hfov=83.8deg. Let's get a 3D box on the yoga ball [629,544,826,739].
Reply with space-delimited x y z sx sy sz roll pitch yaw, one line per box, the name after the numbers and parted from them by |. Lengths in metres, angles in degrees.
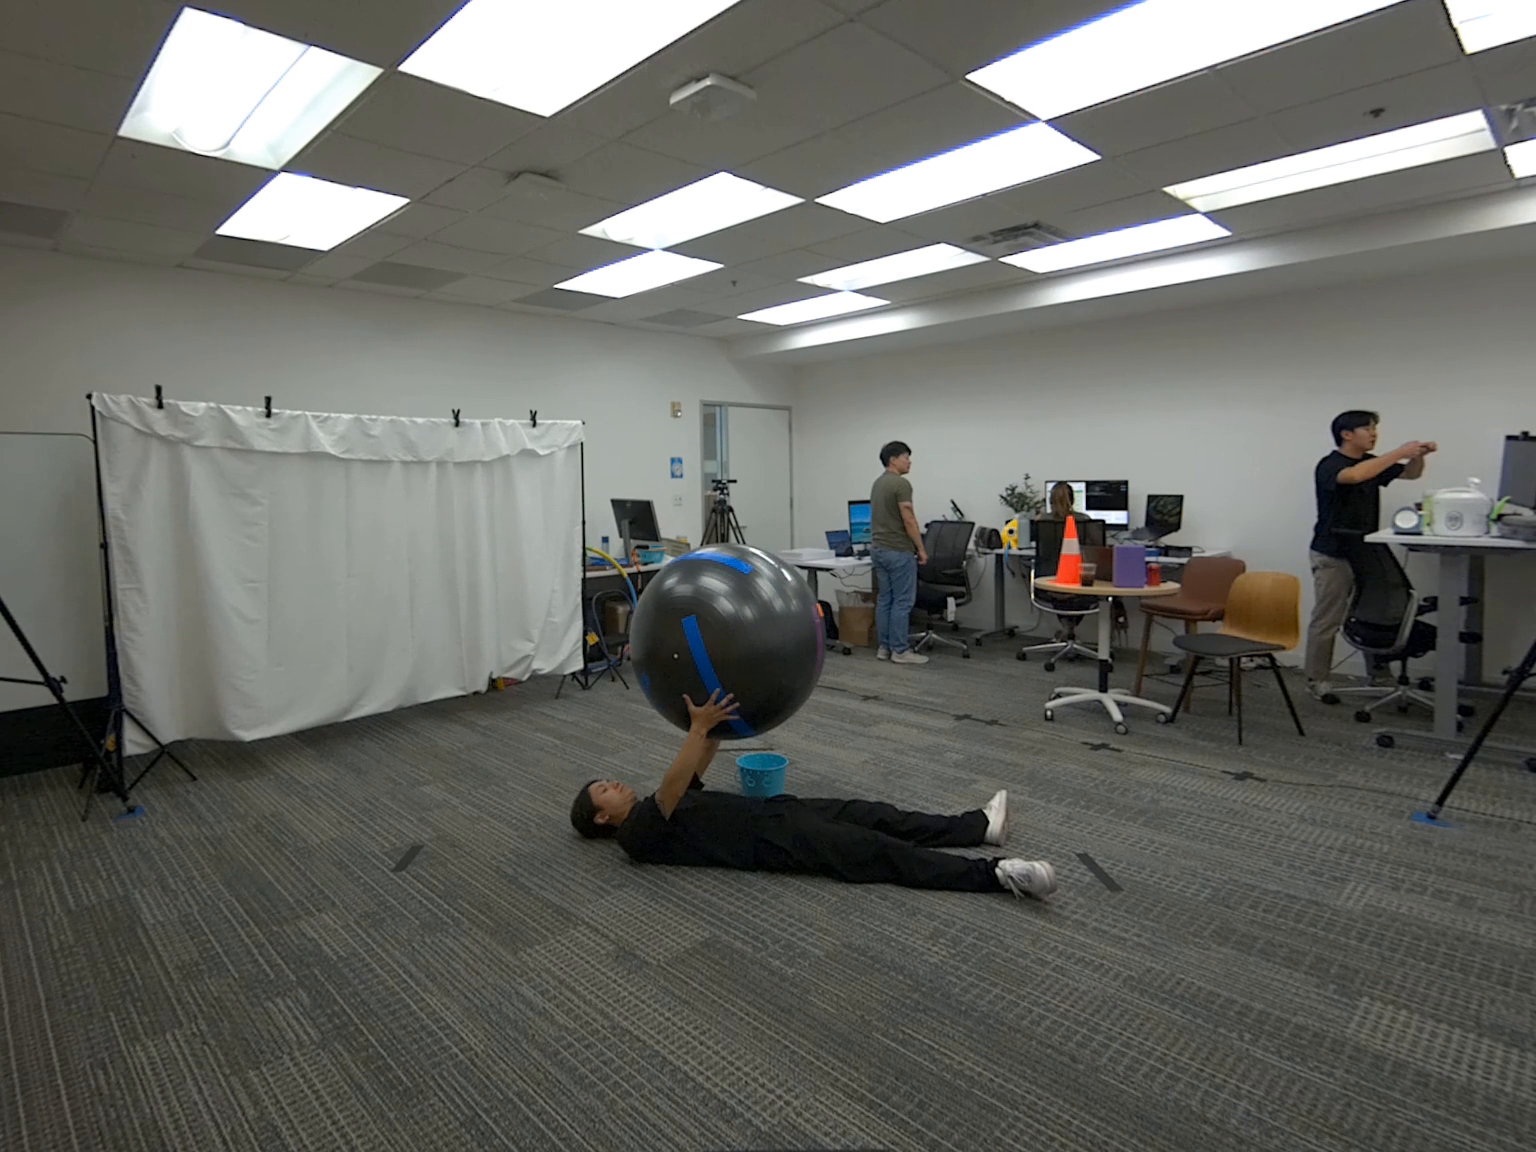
-0.162 0.258 3.322 0.757 0.755 0.762 -1 5 -2 | yoga ball
